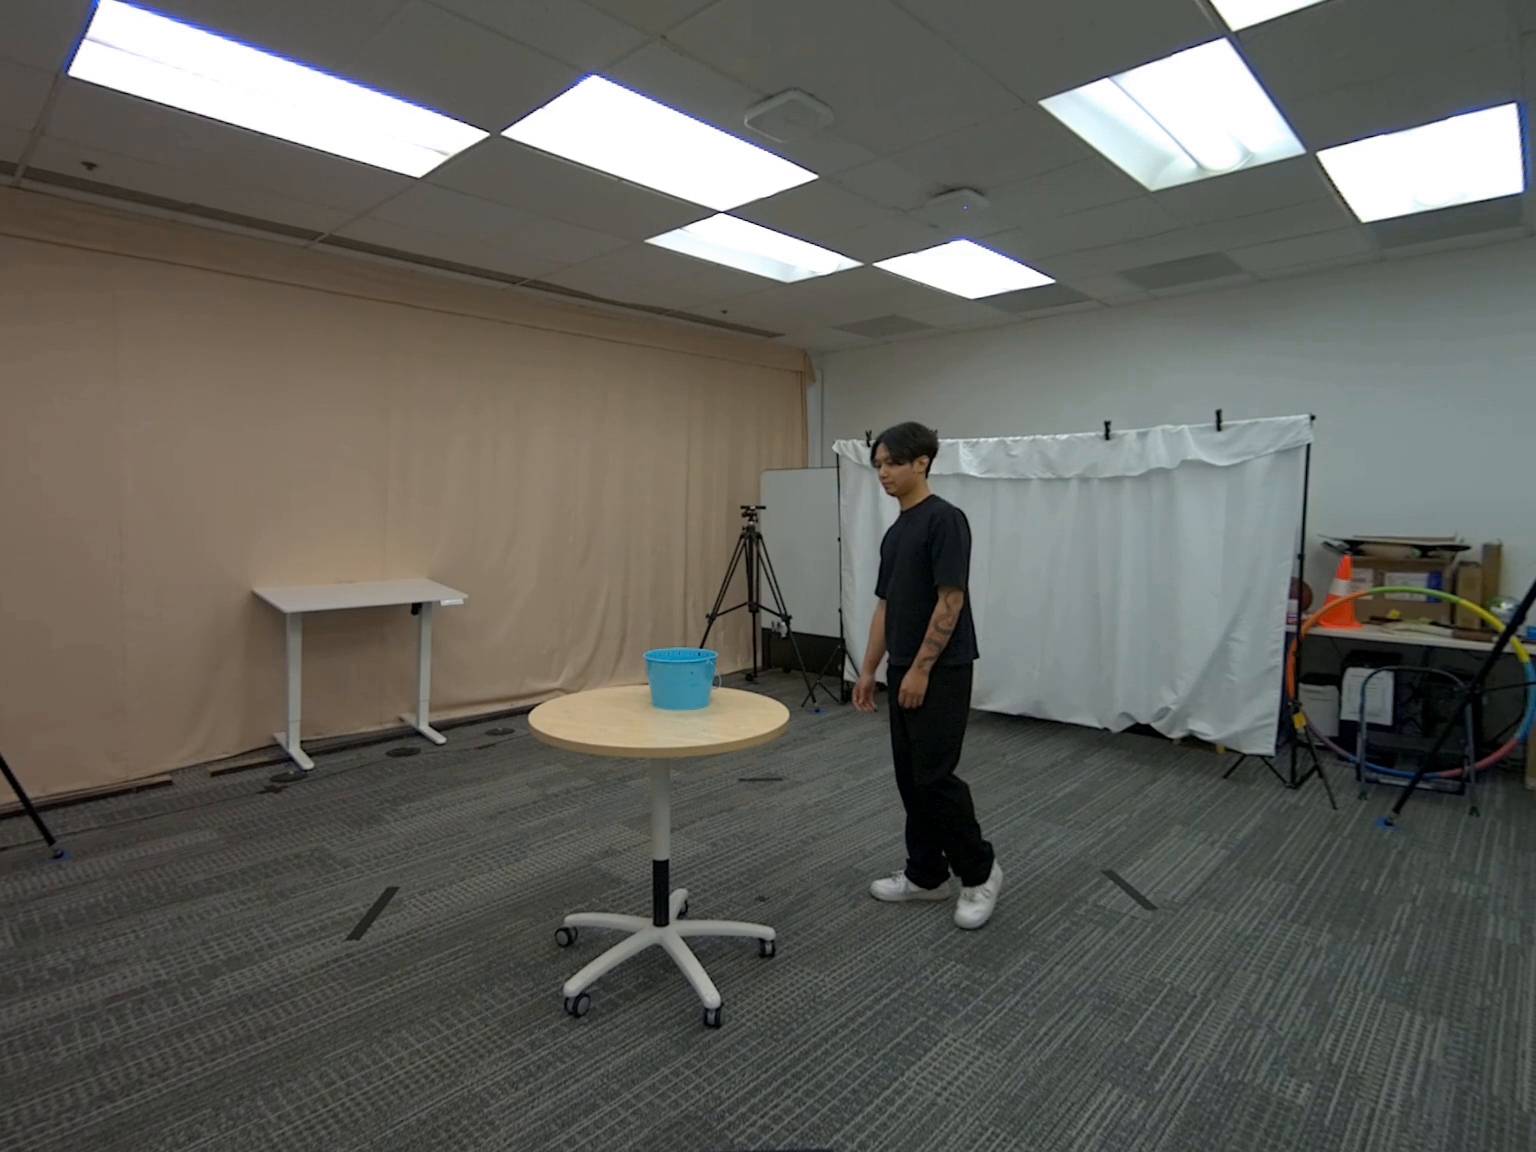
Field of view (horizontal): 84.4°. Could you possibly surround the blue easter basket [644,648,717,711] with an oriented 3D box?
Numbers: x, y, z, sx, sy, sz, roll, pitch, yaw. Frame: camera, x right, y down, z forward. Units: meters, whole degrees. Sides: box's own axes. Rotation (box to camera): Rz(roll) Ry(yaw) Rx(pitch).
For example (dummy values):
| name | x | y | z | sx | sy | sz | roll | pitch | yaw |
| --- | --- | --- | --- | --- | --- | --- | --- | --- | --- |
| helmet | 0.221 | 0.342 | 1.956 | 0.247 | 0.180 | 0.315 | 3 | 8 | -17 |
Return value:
| name | x | y | z | sx | sy | sz | roll | pitch | yaw |
| --- | --- | --- | --- | --- | --- | --- | --- | --- | --- |
| blue easter basket | -0.263 | 0.324 | 2.584 | 0.243 | 0.155 | 0.244 | -1 | 4 | -2 |
